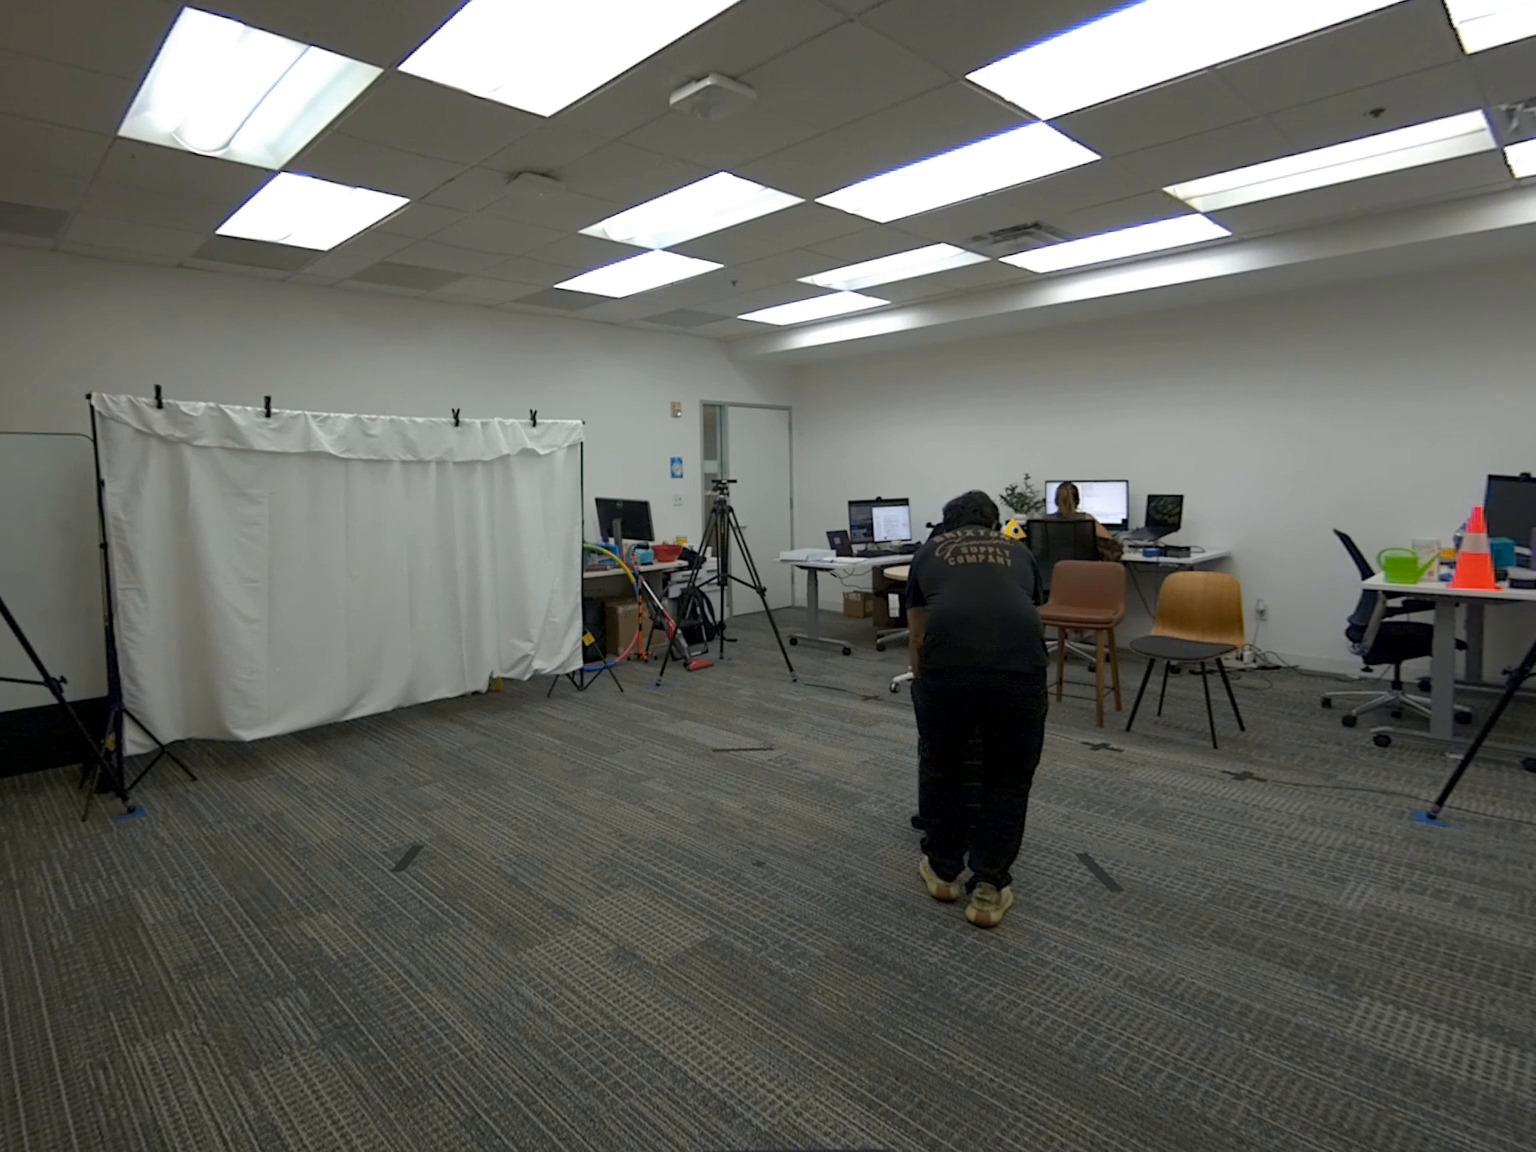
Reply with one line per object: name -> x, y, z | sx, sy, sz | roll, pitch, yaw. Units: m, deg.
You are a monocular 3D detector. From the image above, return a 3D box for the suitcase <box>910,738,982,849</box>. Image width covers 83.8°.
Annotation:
suitcase -> 0.774, 0.747, 3.260 | 0.376, 0.547, 0.249 | 1, 5, 2
